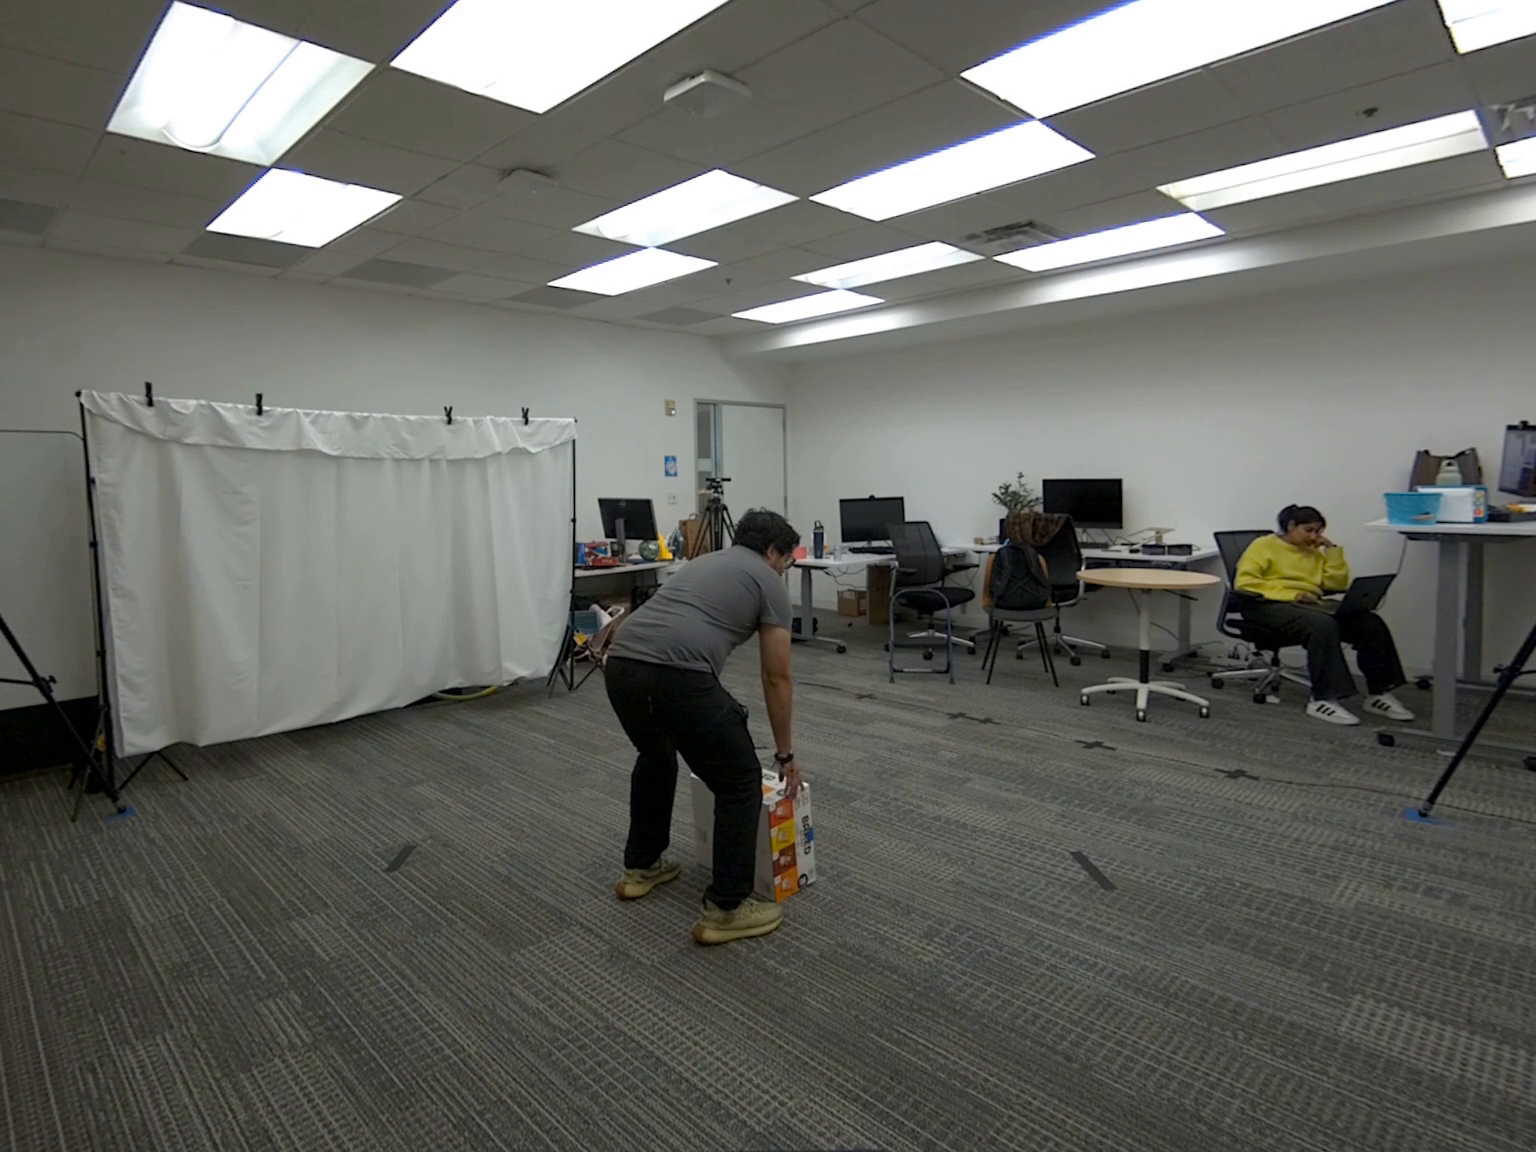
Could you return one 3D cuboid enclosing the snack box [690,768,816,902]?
[{"bbox_3d":[-0.056,0.878,3.008,0.201,0.338,0.417,-10,10,-43],"label":"snack box"}]
